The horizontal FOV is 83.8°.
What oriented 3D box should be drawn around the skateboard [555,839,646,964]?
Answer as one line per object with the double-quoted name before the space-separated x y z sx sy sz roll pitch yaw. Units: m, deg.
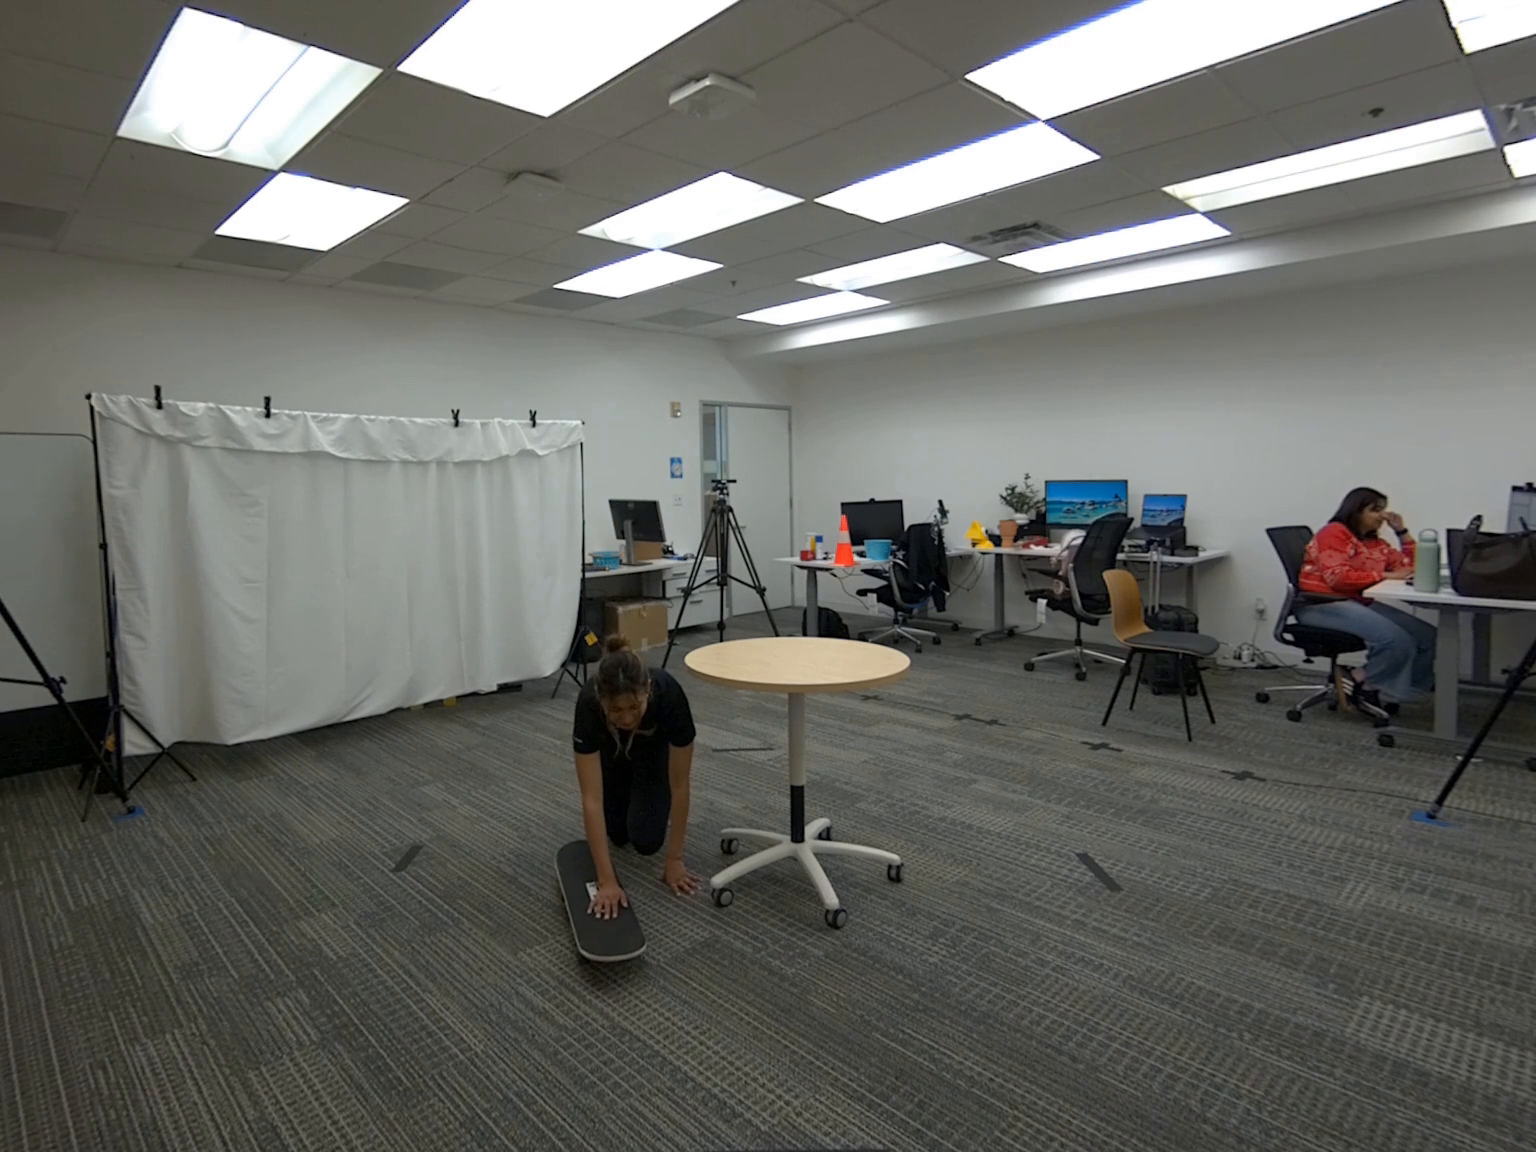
"skateboard" -0.543 1.052 2.704 0.190 0.110 0.803 -3 7 -21
